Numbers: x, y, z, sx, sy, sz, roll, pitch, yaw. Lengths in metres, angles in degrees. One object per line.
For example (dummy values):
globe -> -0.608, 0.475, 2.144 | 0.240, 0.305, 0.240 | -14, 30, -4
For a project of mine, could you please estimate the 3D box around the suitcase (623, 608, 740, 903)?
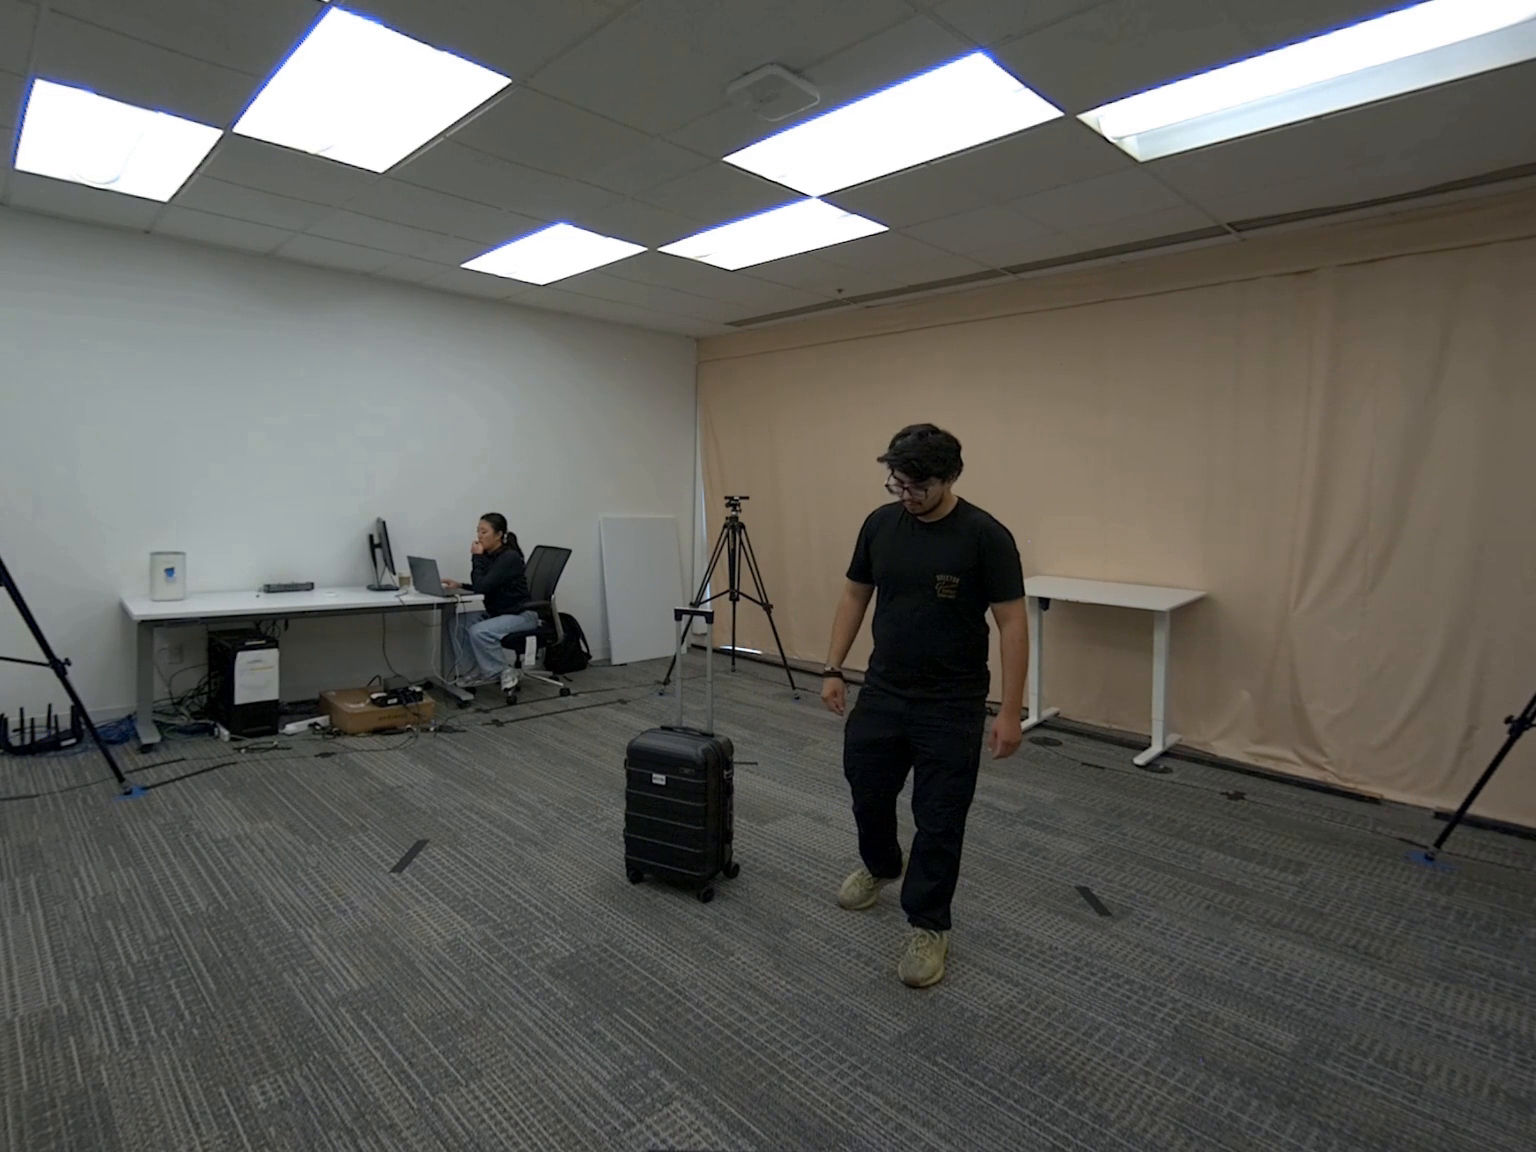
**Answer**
suitcase -> -0.318, 0.635, 3.013 | 0.391, 0.974, 0.253 | 3, 7, 24
